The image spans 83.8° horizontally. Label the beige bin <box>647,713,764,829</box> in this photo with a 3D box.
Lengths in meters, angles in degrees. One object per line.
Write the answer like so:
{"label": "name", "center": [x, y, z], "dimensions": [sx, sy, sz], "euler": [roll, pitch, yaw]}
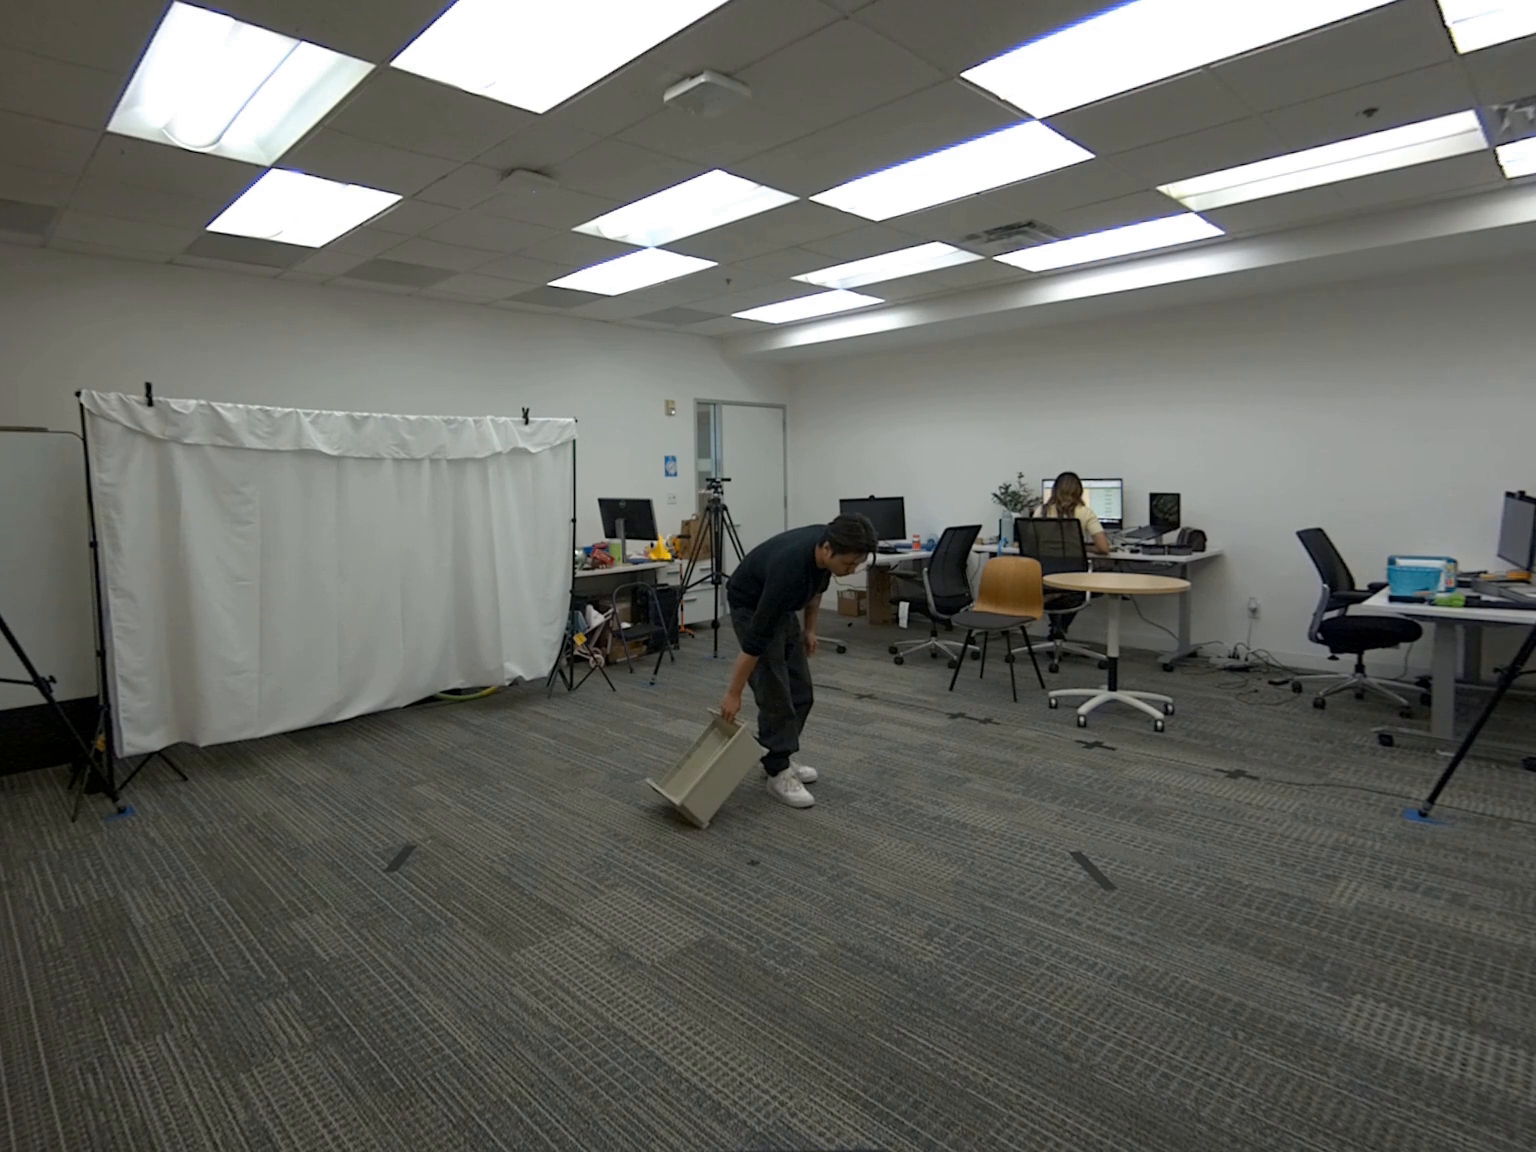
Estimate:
{"label": "beige bin", "center": [-0.267, 0.790, 3.585], "dimensions": [0.422, 0.184, 0.388], "euler": [-47, 25, -18]}
